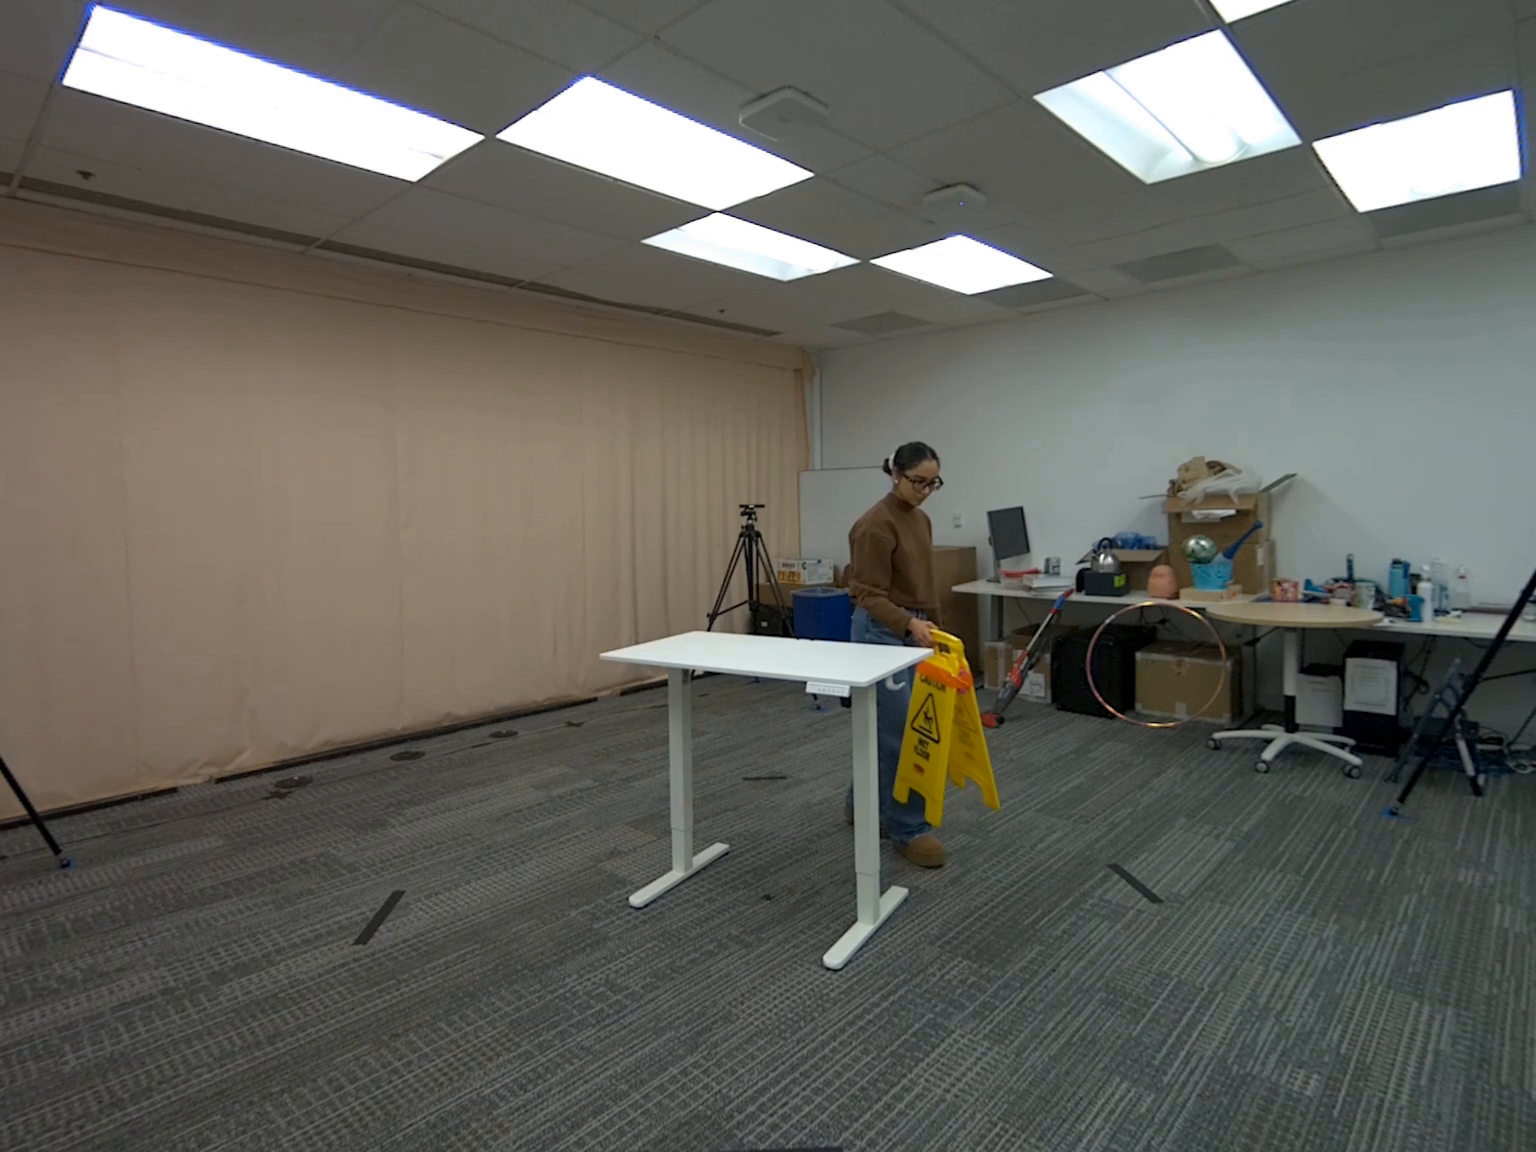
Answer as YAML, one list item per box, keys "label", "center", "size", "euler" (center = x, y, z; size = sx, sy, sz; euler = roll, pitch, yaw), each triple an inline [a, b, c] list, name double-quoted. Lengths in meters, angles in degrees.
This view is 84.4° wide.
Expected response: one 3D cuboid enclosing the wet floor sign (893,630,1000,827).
- label: "wet floor sign"
  center: [0.639, 0.520, 3.044]
  size: [0.284, 0.642, 0.289]
  euler: [-7, 9, -20]
